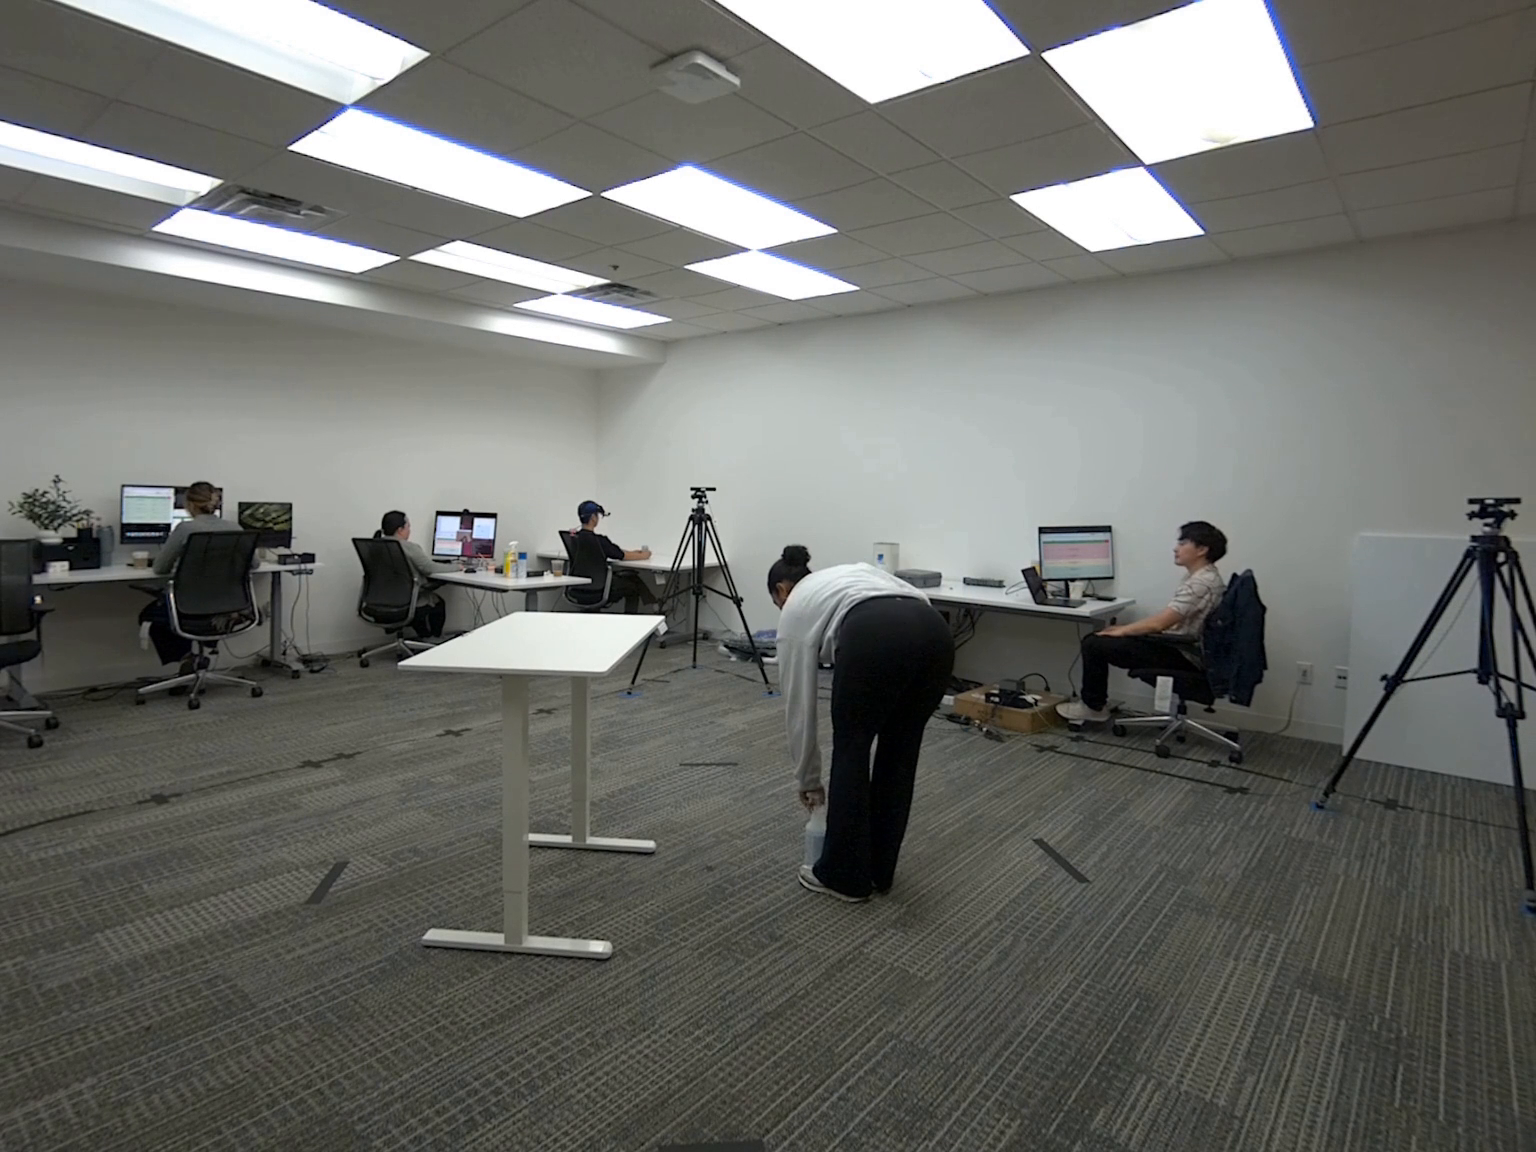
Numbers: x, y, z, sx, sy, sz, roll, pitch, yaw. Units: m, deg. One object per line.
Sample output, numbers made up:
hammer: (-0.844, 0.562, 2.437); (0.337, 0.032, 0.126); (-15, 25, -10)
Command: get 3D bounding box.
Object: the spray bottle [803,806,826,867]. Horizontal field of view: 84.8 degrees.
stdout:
spray bottle: (0.169, 0.913, 3.108); (0.089, 0.296, 0.088); (-1, 4, -9)
